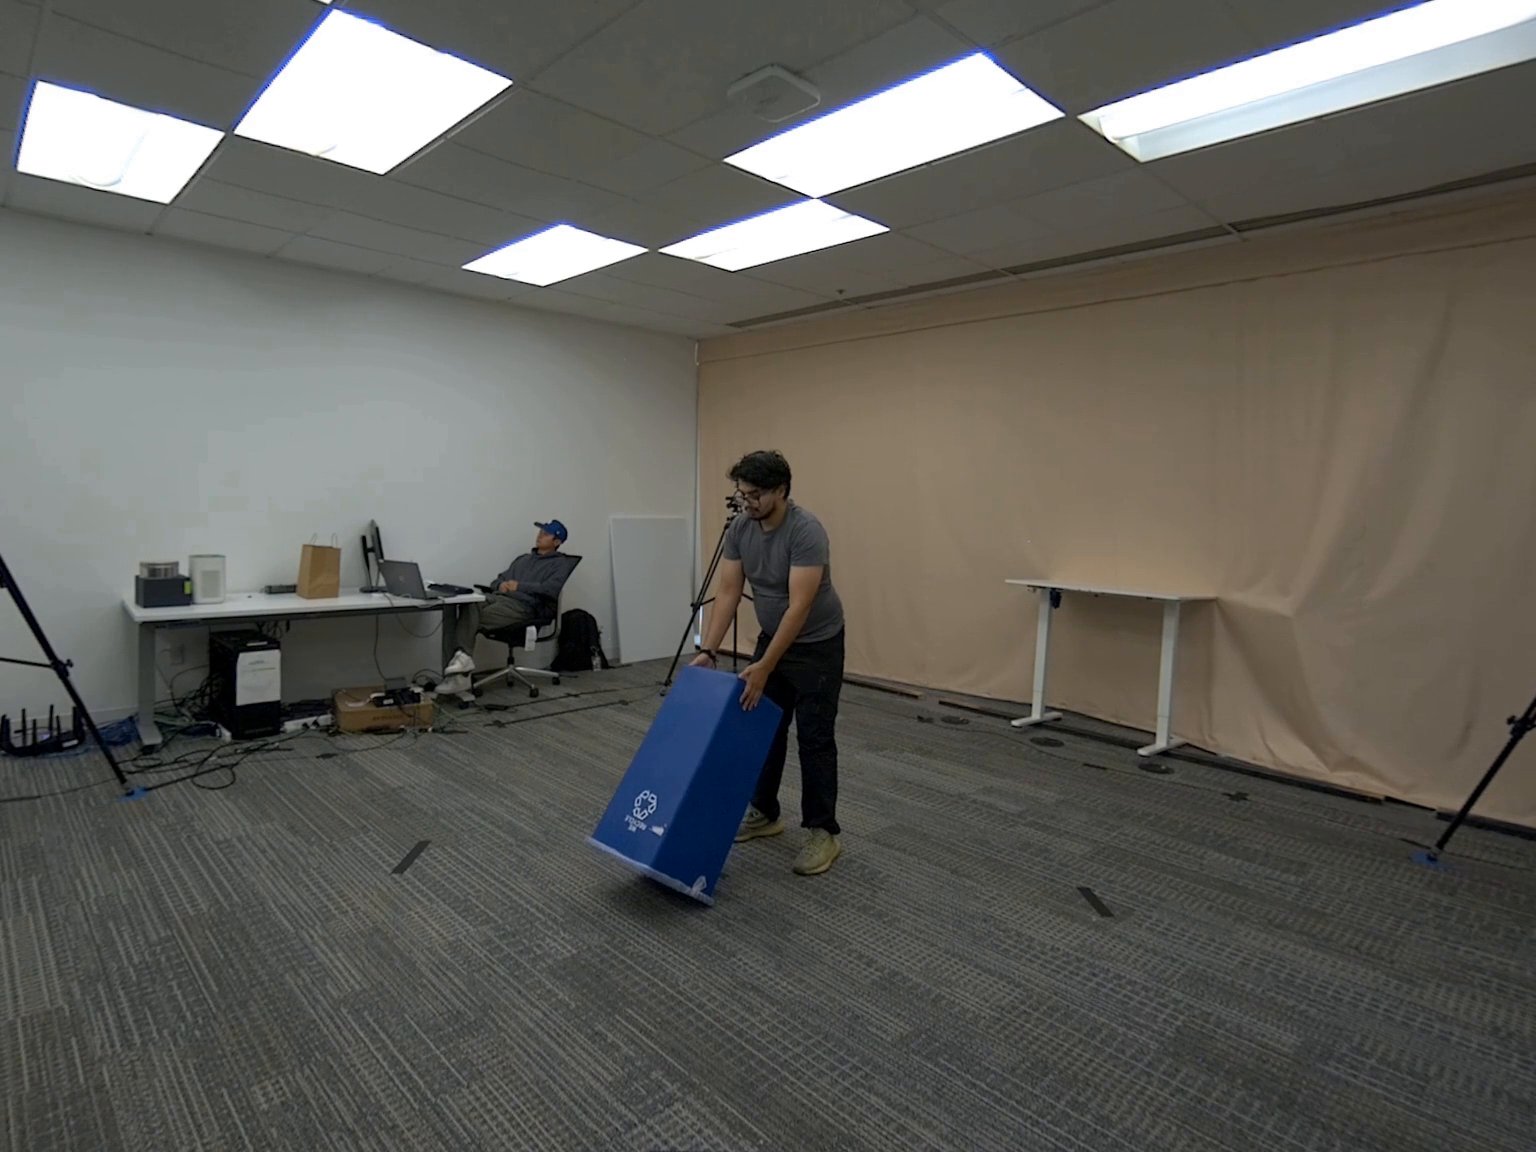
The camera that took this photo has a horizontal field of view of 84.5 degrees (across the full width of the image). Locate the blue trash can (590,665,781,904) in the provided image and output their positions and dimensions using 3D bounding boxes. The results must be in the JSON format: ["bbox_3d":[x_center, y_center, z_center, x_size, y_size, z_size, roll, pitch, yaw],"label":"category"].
[{"bbox_3d":[-0.277,0.725,3.013,0.383,0.718,0.366,4,-29,44],"label":"blue trash can"}]
